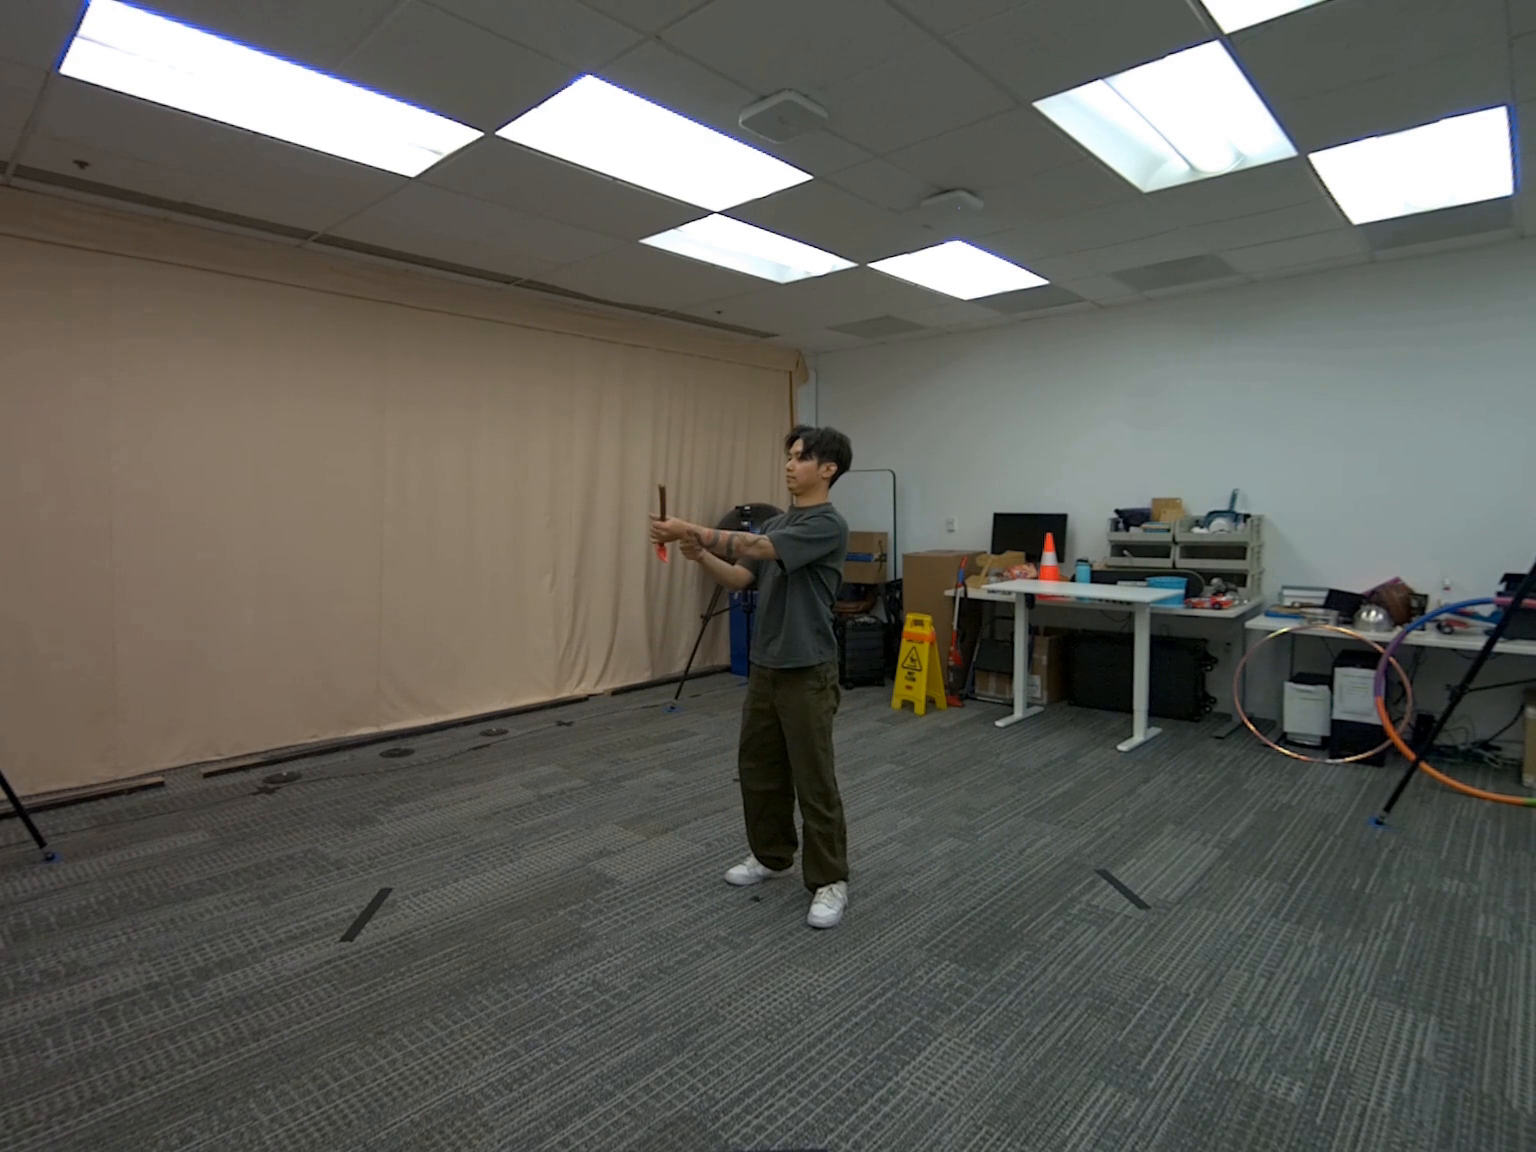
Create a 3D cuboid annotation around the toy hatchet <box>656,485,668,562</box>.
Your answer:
[{"bbox_3d":[-0.344,-0.187,2.734,0.029,0.266,0.135,-7,23,-18],"label":"toy hatchet"}]
